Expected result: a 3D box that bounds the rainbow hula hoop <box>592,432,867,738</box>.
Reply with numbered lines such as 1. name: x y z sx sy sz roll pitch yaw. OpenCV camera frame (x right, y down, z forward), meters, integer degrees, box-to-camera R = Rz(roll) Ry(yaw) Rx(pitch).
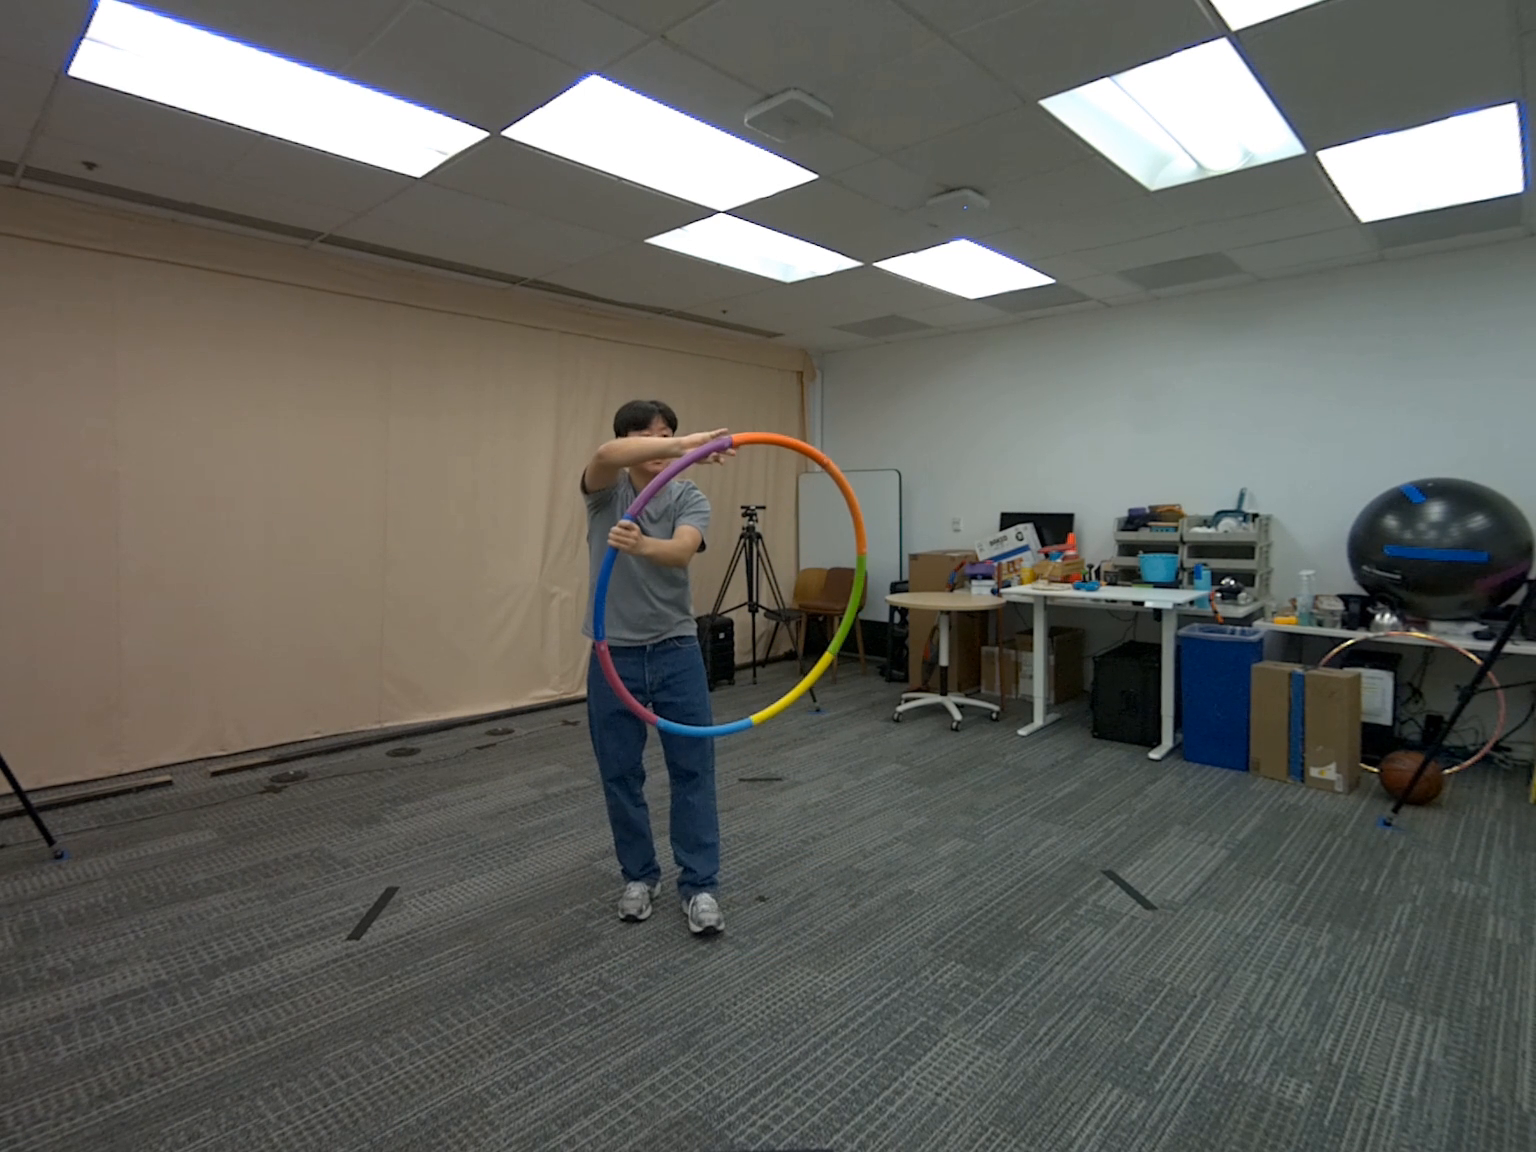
1. rainbow hula hoop: -0.074 0.046 2.614 0.952 0.971 0.037 -2 20 -30
